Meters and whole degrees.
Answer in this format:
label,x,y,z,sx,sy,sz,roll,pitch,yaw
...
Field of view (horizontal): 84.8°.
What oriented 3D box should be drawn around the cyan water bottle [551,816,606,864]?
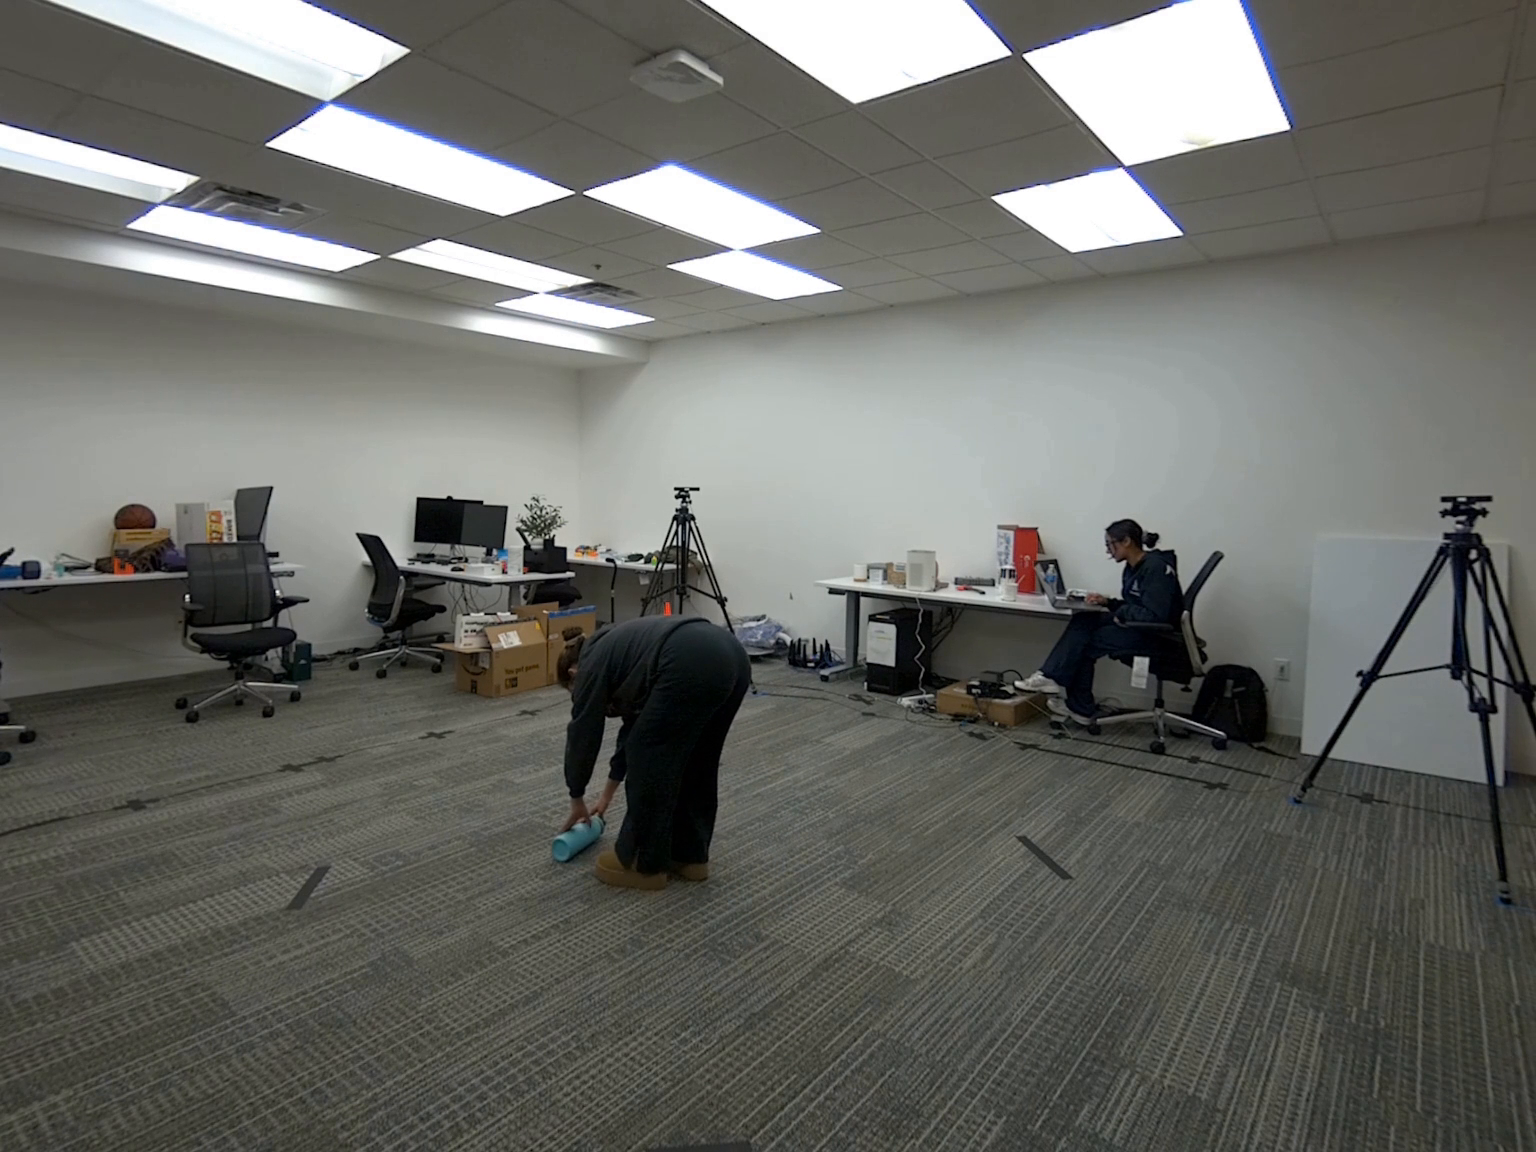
label,x,y,z,sx,sy,sz,roll,pitch,yaw
cyan water bottle,-0.716,0.998,3.266,0.094,0.092,0.278,2,7,20
